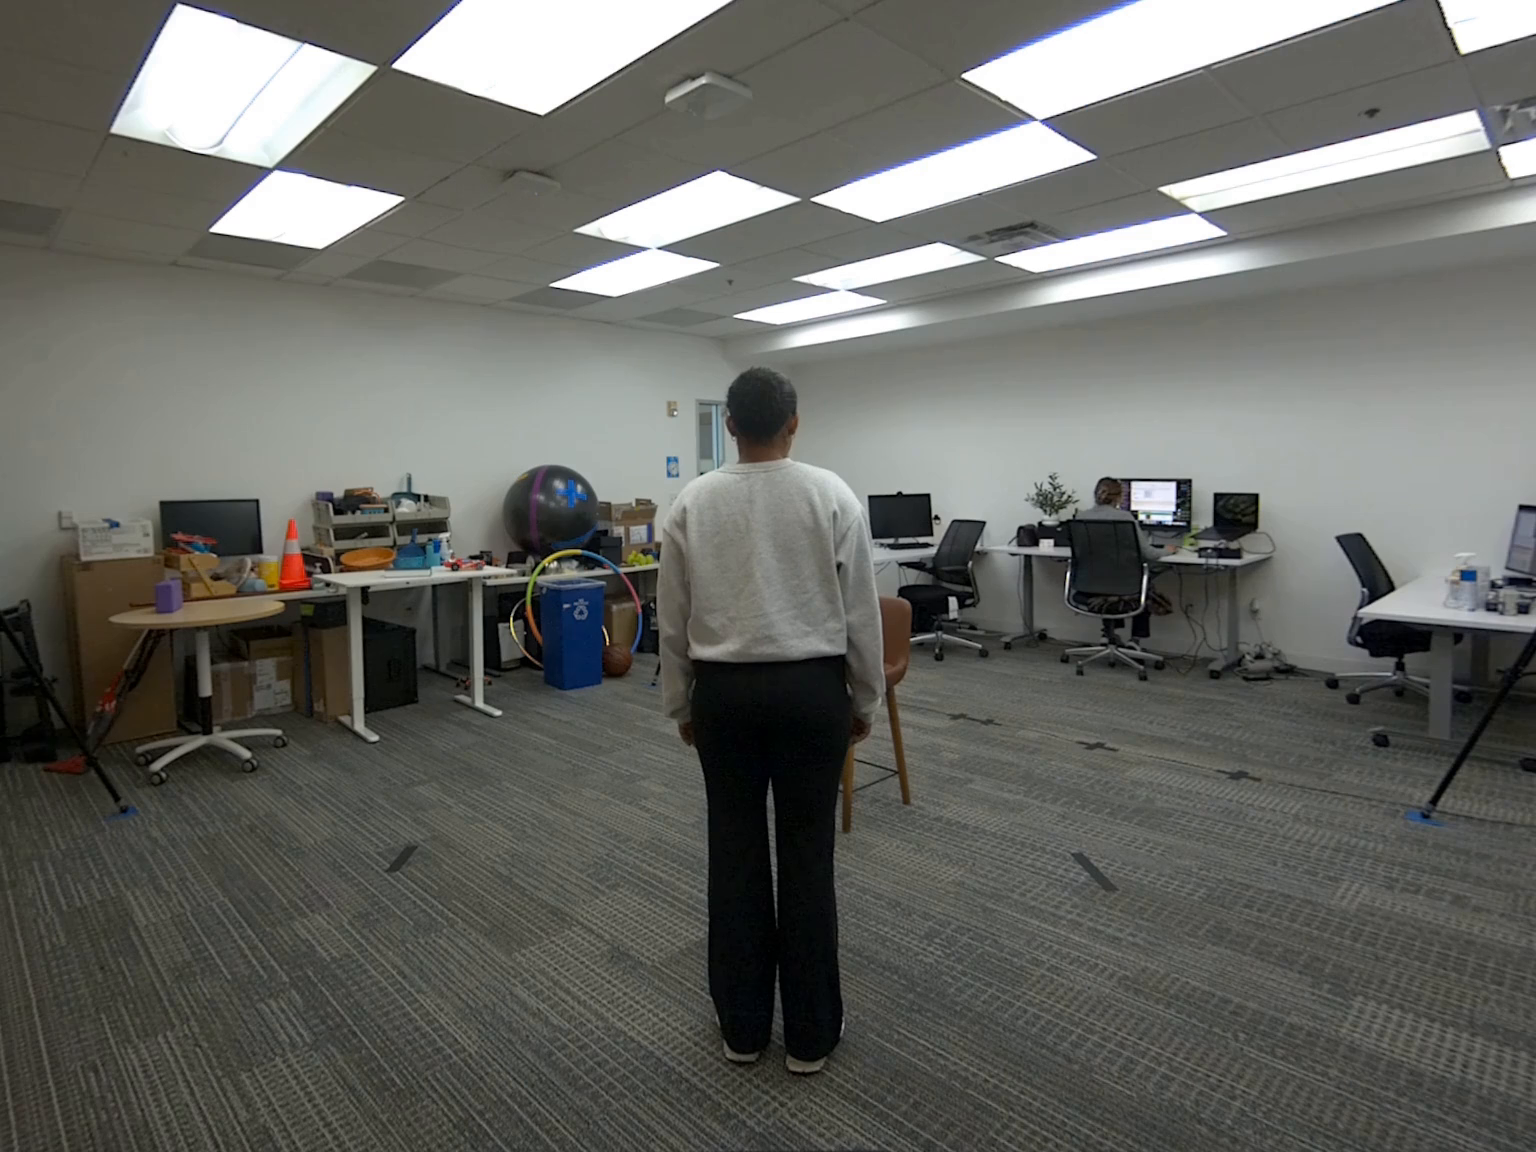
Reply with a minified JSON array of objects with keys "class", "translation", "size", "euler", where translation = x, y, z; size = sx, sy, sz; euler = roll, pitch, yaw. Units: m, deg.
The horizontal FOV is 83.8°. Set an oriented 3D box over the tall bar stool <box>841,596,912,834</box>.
[{"class":"tall bar stool","translation":[0.329,0.545,3.627],"size":[0.454,0.887,0.471],"euler":[-2,4,-43]}]
